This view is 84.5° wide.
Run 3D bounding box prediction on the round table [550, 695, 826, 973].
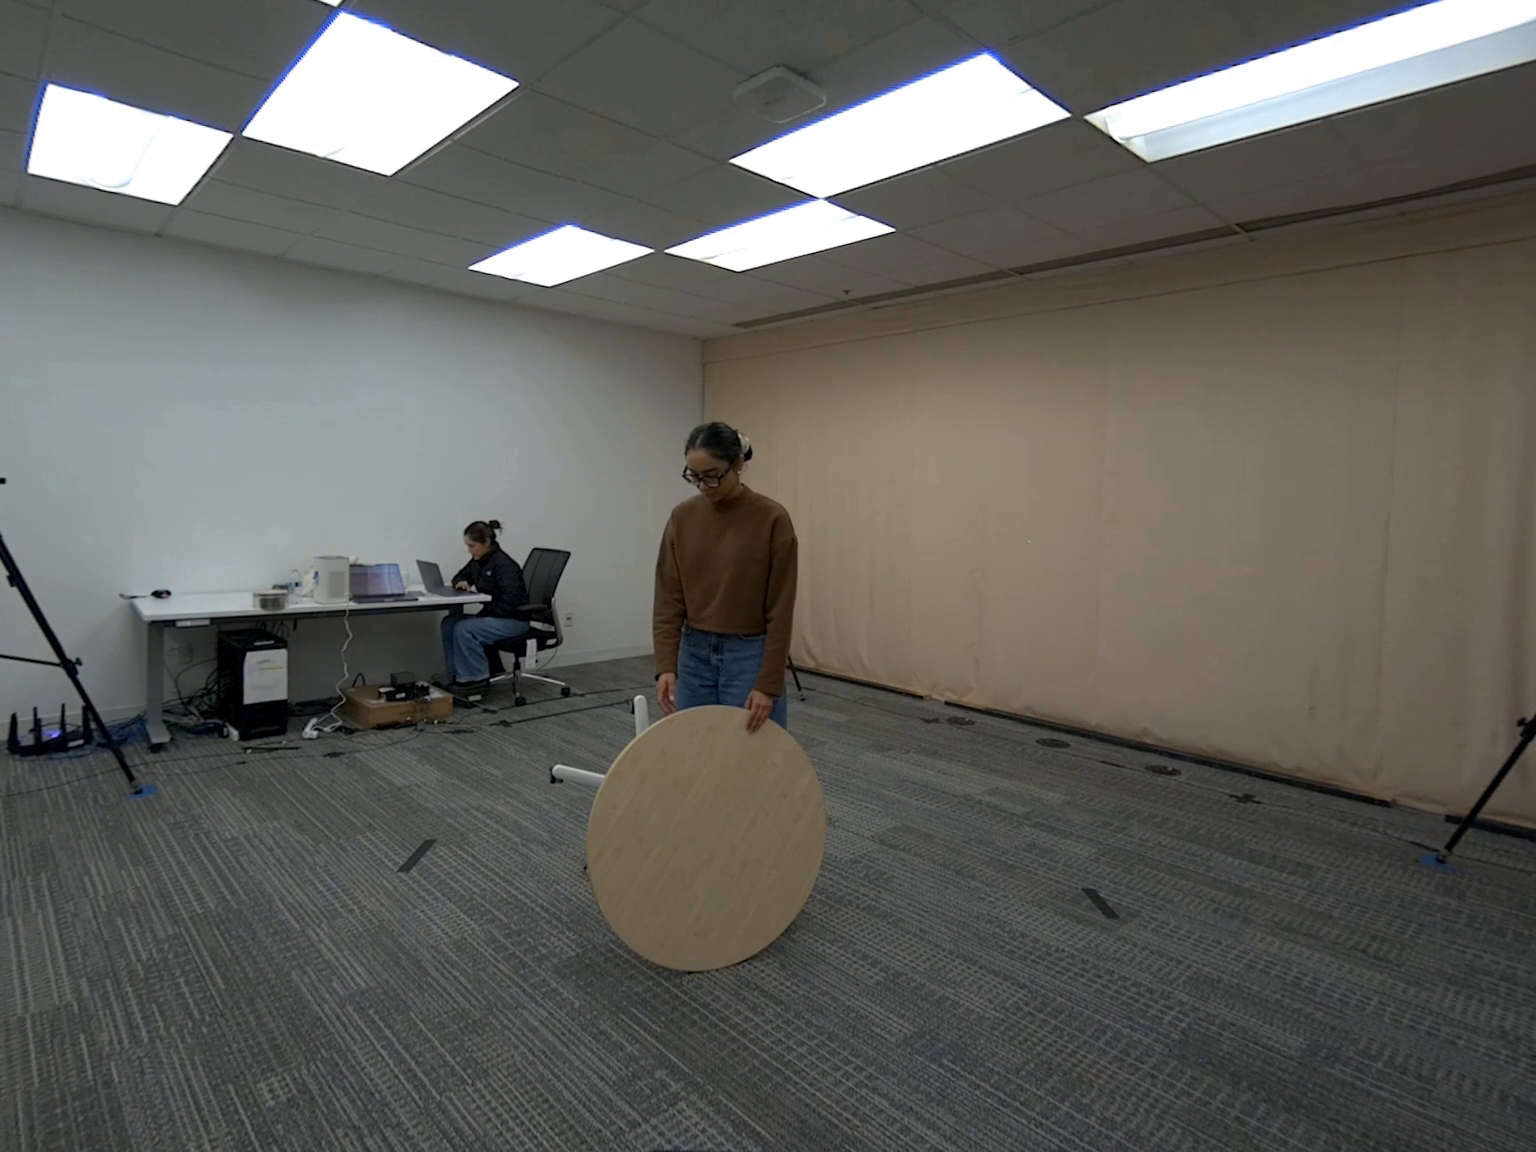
[{"bbox_3d":[-0.342,0.791,2.871,0.750,0.766,0.806,-1,-3,-25],"label":"round table"}]
